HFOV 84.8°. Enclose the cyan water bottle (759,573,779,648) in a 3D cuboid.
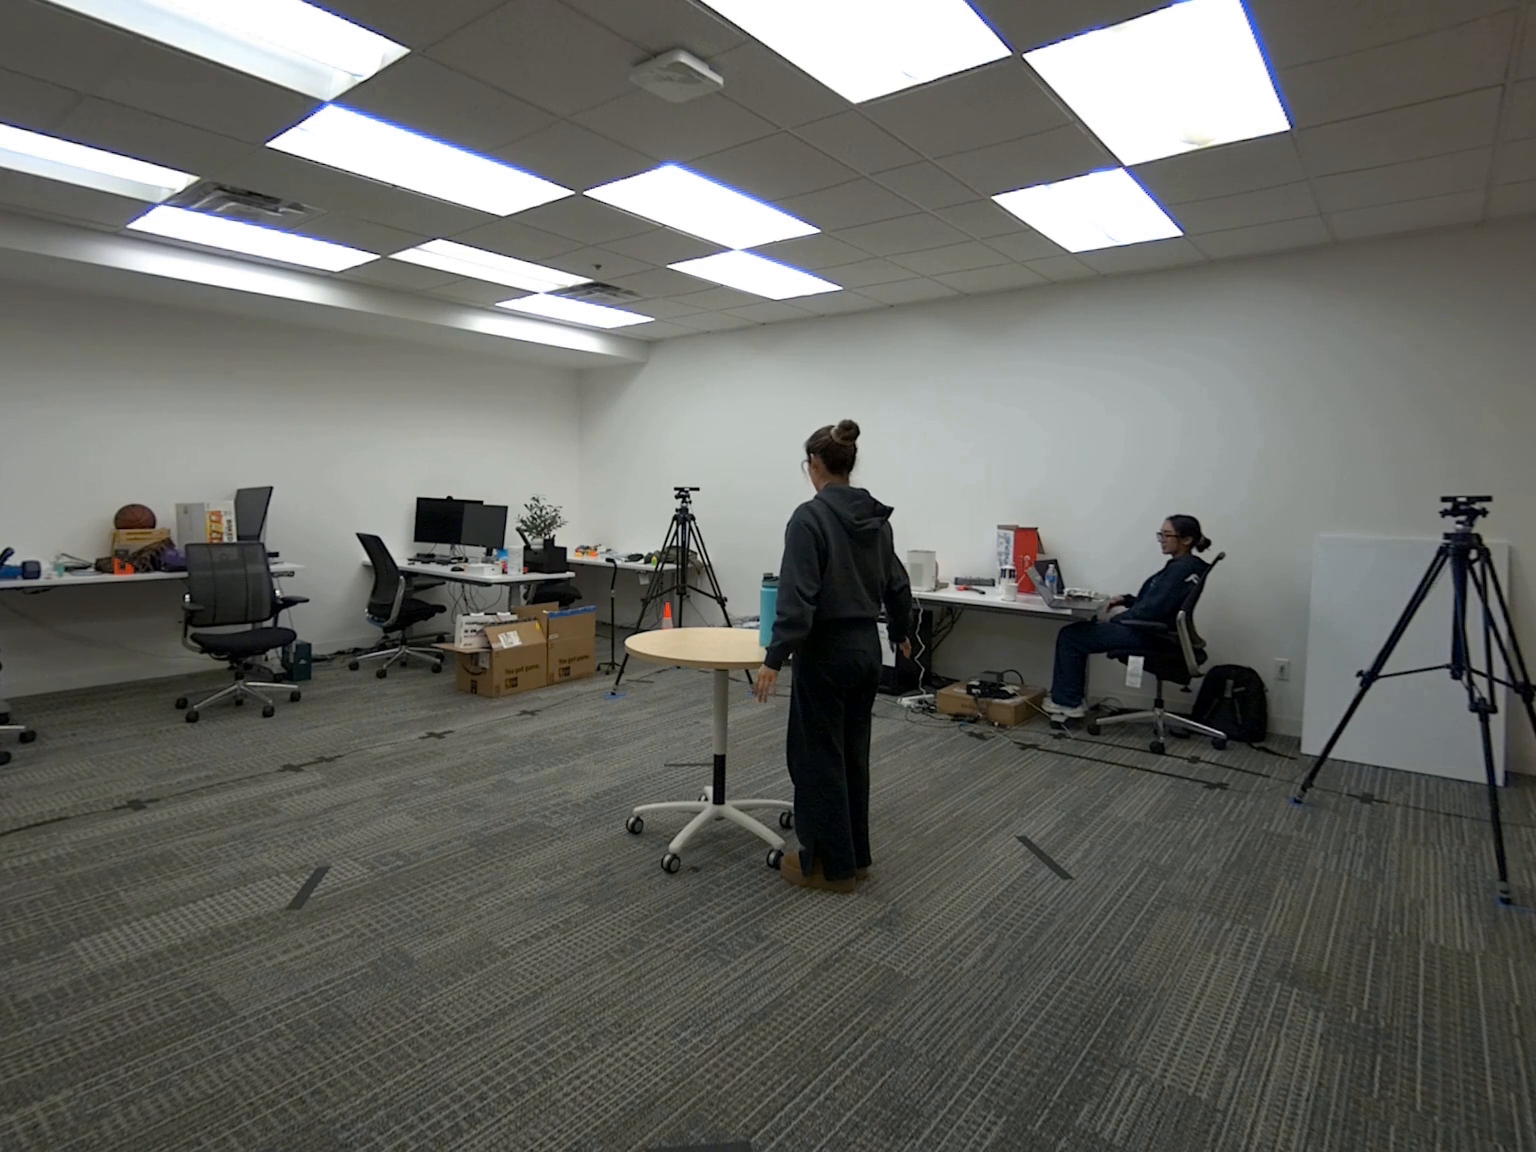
[{"bbox_3d":[0.010,0.125,3.326,0.092,0.283,0.092,4,2,-2],"label":"cyan water bottle"}]
